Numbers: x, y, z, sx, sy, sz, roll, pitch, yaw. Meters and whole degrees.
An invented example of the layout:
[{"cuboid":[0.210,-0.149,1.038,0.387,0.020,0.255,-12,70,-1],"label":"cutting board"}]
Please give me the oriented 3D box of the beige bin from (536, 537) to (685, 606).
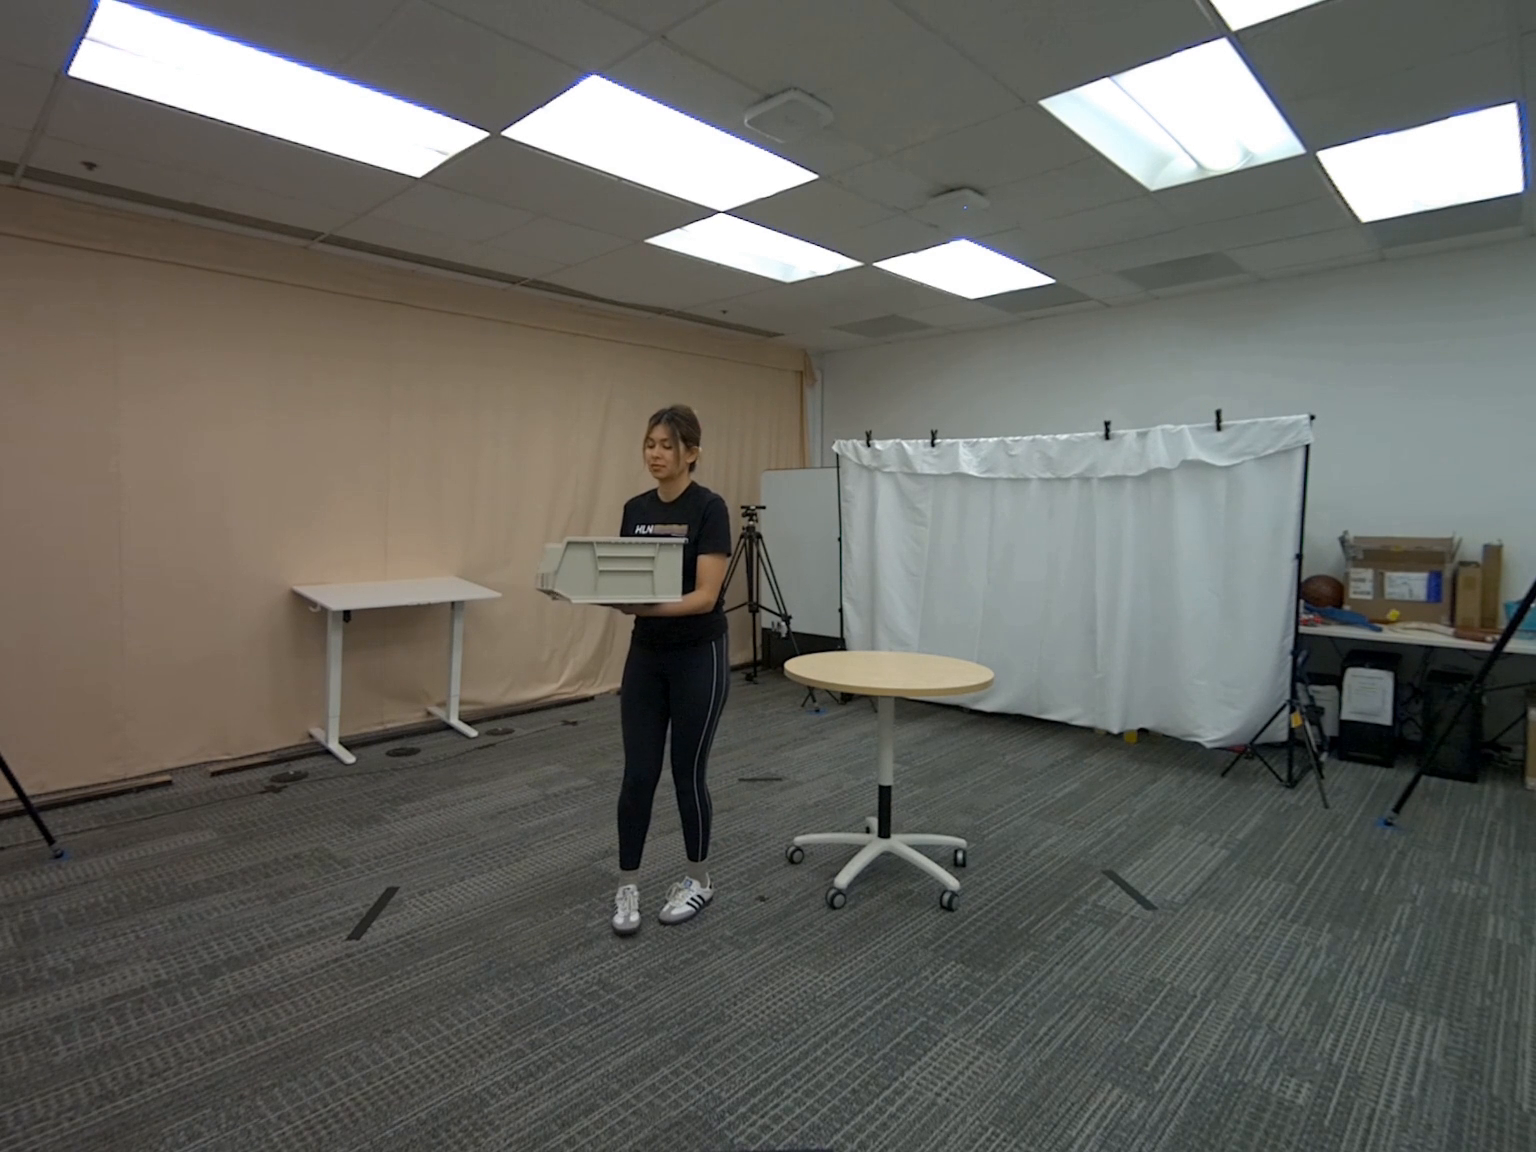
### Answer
[{"cuboid":[-0.482,-0.012,2.512,0.372,0.189,0.428,0,0,-13],"label":"beige bin"}]
